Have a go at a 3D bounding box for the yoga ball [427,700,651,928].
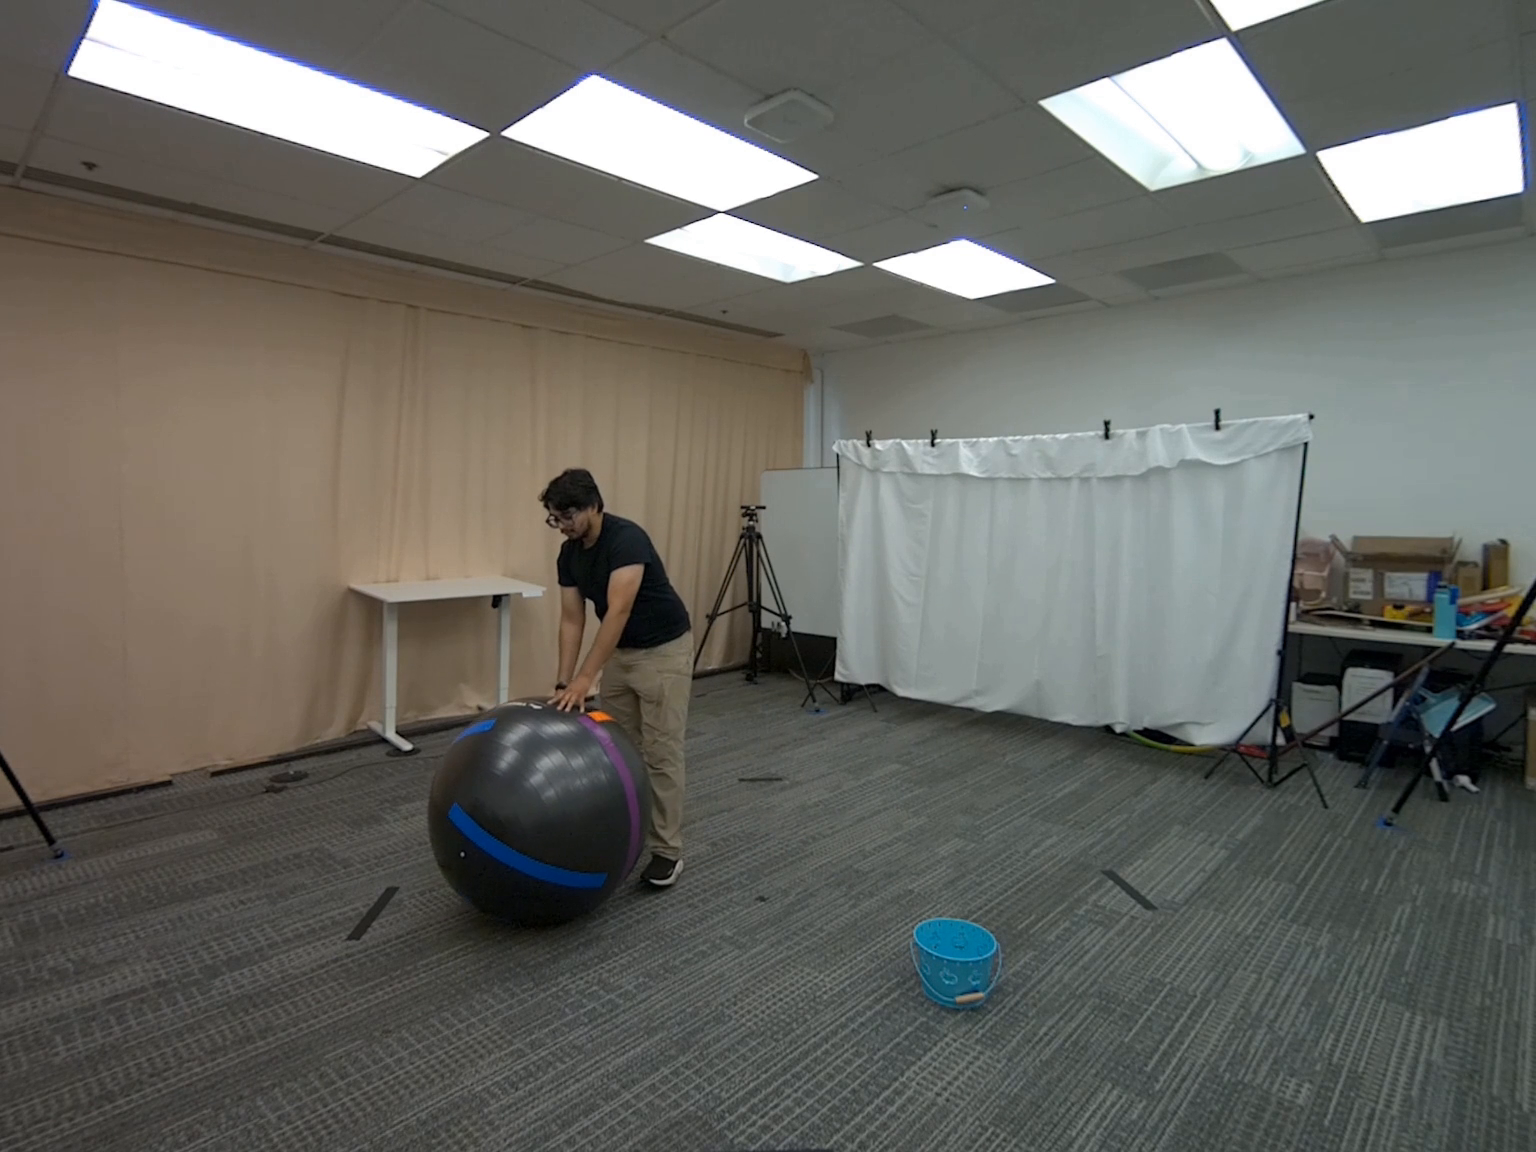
[{"bbox_3d":[-0.787,0.802,2.910,0.757,0.756,0.760,0,4,-2],"label":"yoga ball"}]
